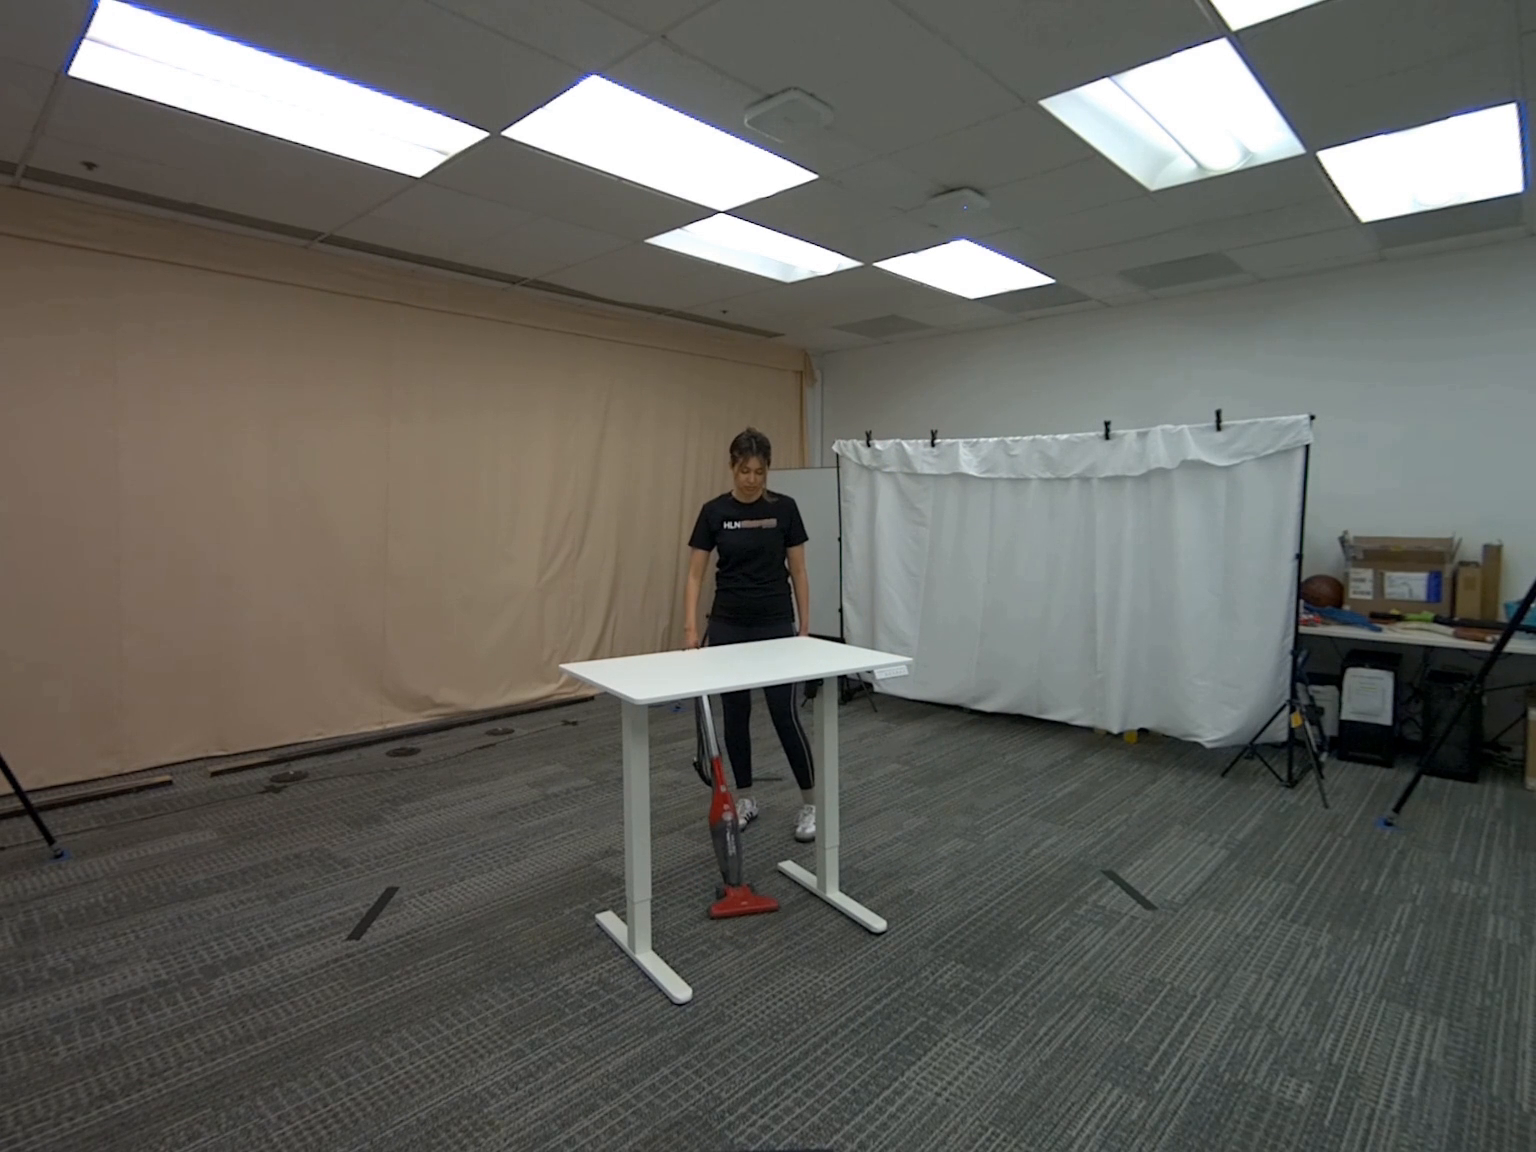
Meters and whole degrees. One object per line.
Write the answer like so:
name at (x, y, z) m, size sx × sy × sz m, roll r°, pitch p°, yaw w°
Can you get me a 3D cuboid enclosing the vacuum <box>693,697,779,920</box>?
vacuum at (-0.200, 0.717, 3.234) m, size 0.248 × 1.076 × 0.143 m, roll -1°, pitch -39°, yaw -18°
